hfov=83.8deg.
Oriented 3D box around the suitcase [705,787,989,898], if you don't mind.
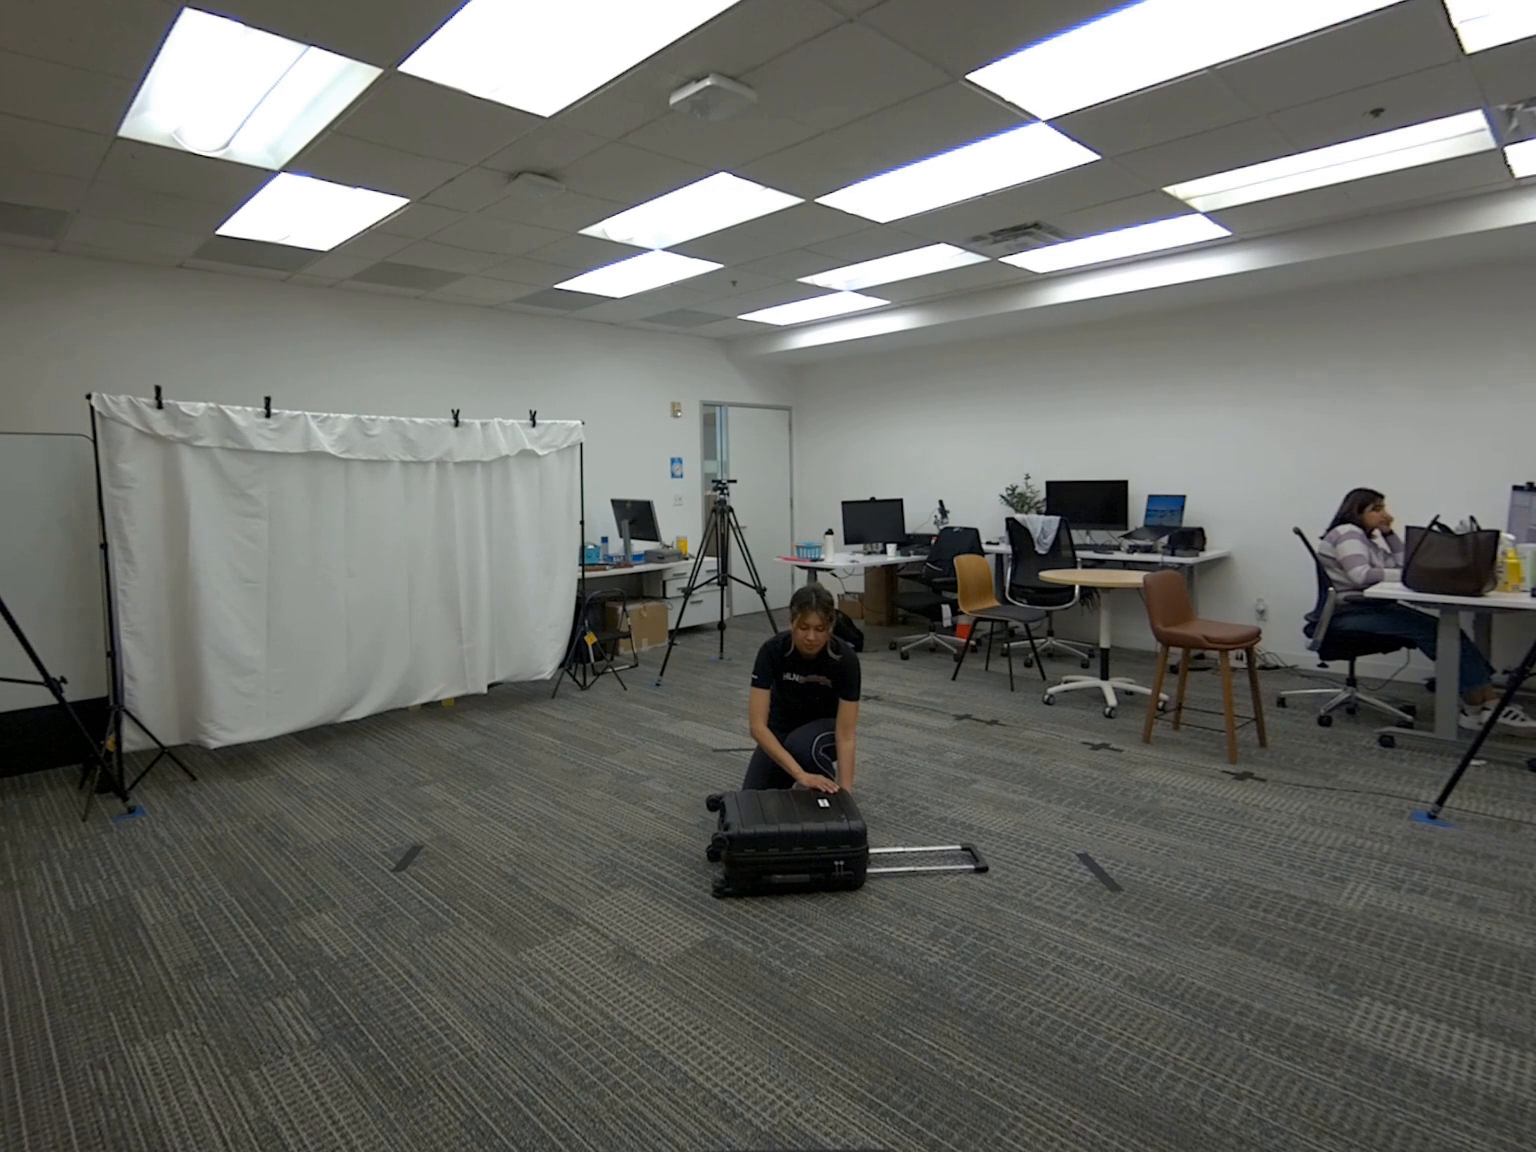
[{"bbox_3d":[0.272,0.920,3.023,0.974,0.255,0.389,-3,9,-5],"label":"suitcase"}]
